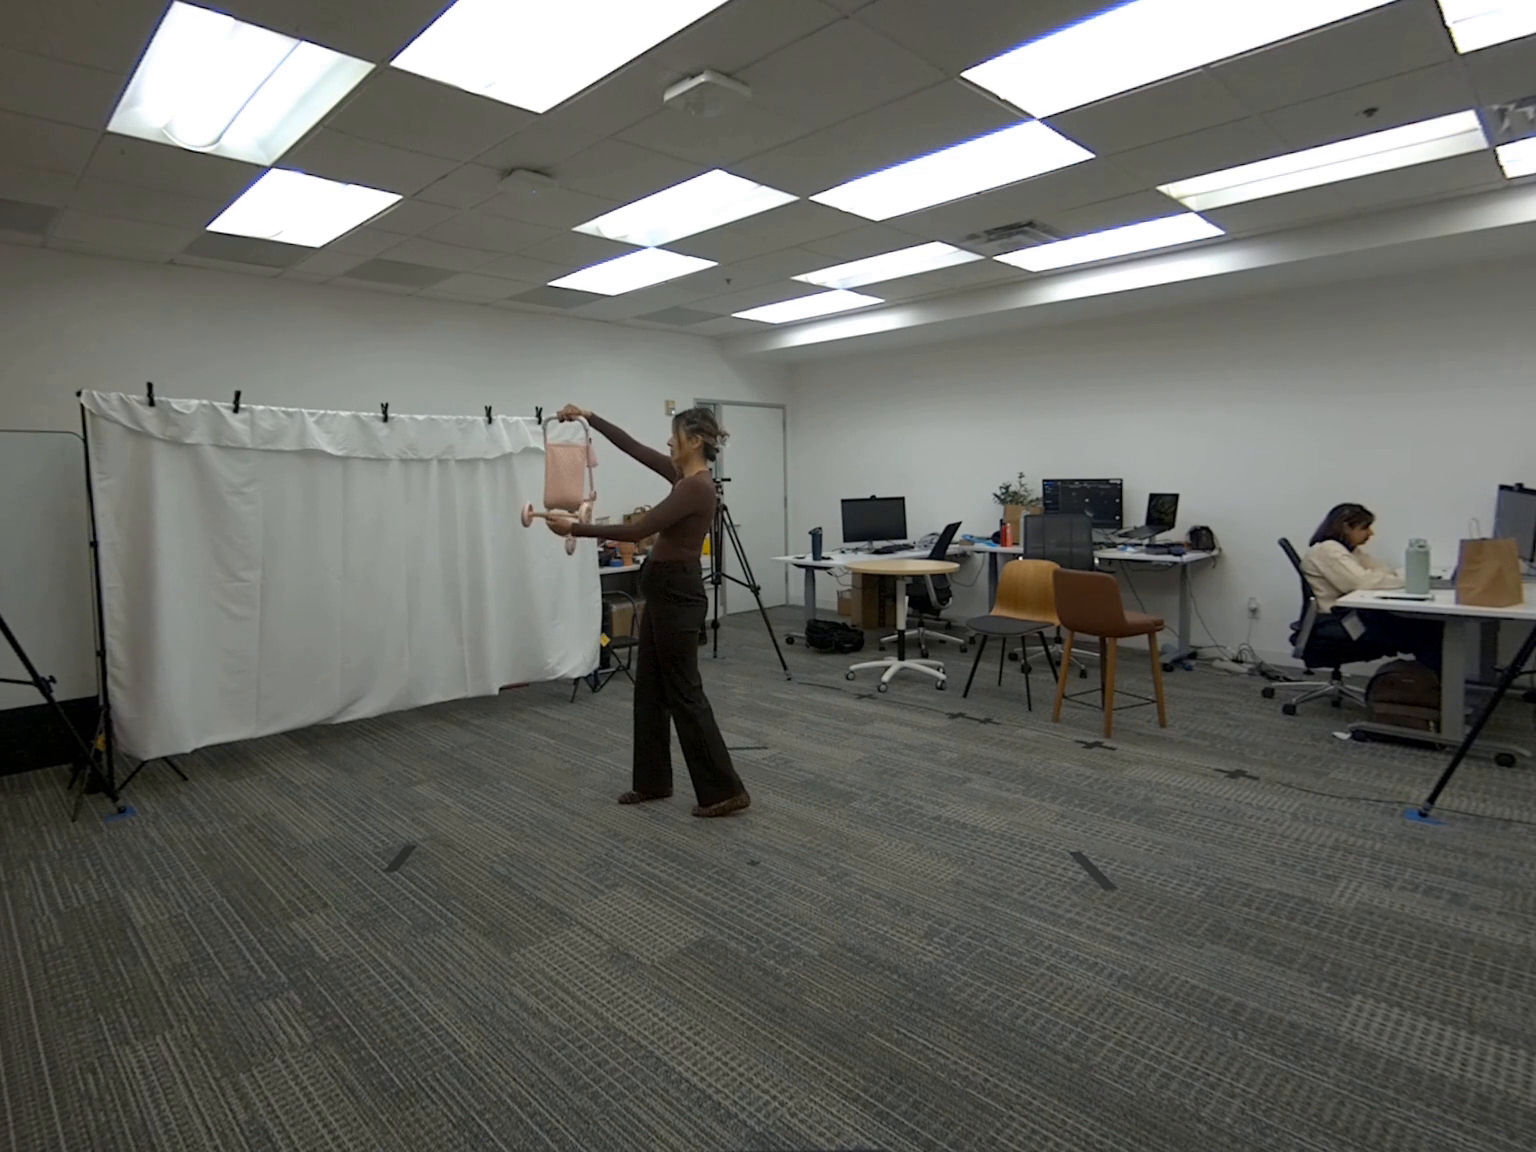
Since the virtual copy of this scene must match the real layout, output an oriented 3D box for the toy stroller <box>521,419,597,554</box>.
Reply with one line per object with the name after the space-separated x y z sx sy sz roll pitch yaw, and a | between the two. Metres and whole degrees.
-0.856 -0.381 3.678 0.284 0.541 0.334 1 -14 9 | toy stroller
